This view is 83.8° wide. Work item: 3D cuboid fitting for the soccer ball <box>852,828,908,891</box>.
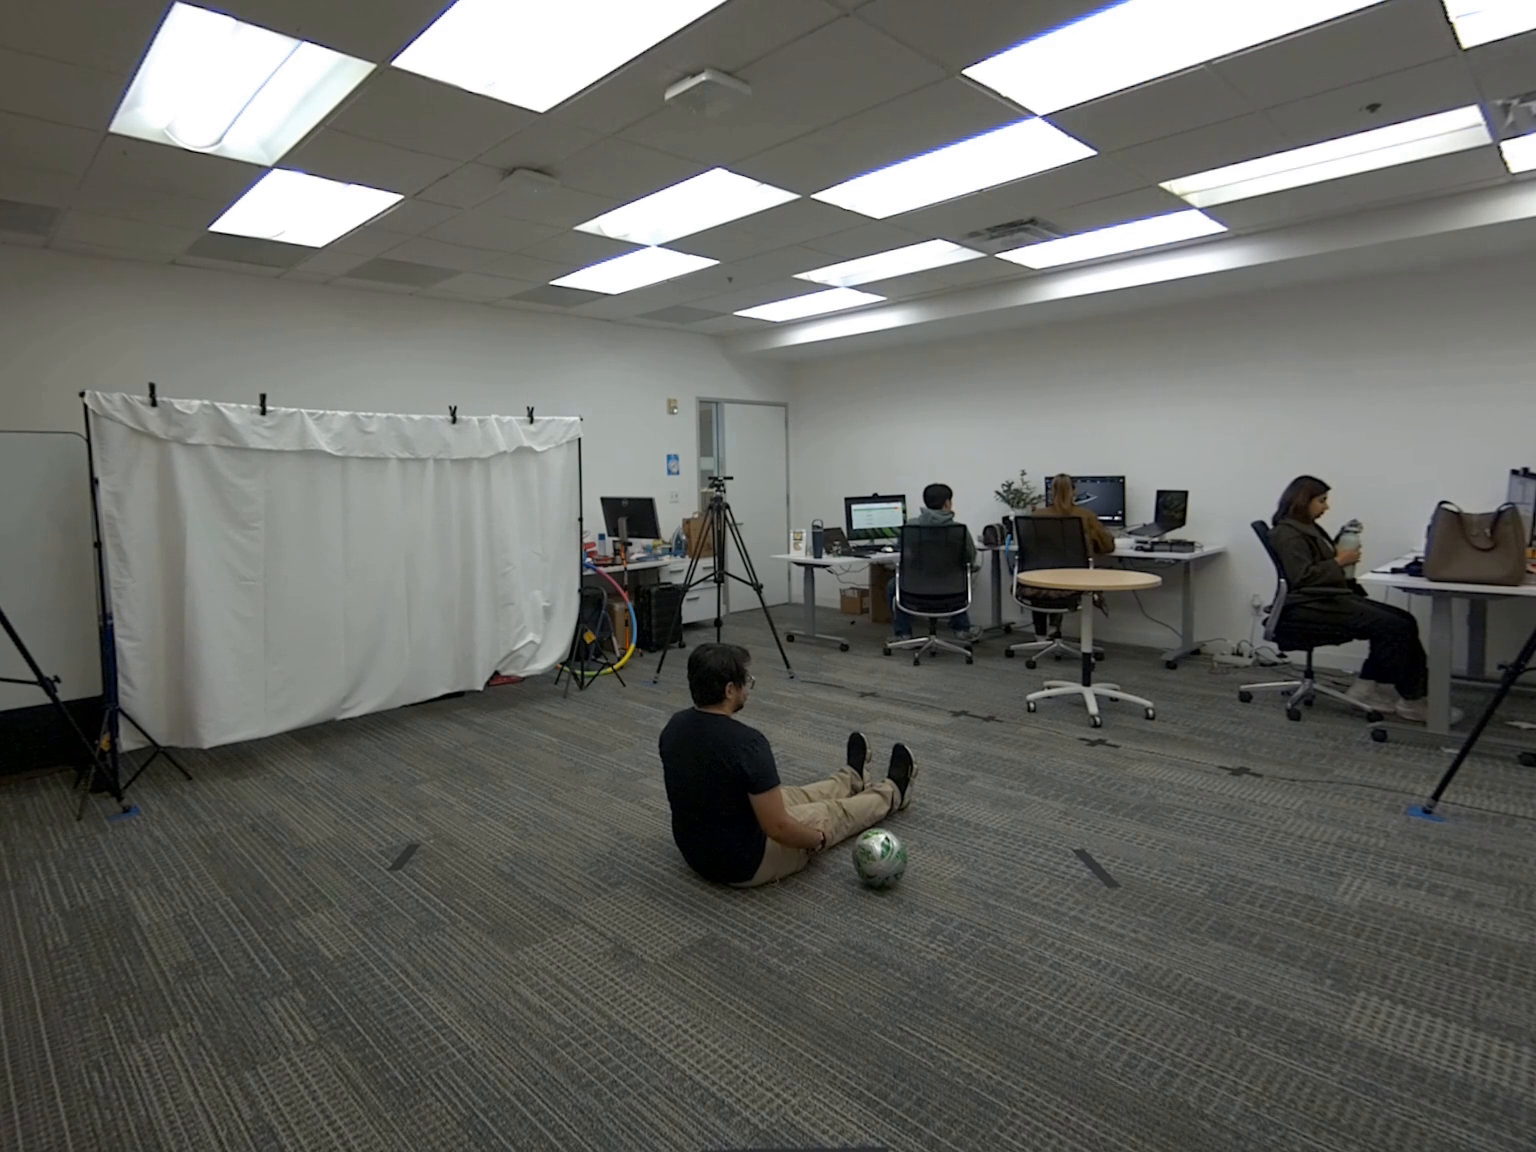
[{"bbox_3d":[0.376,0.950,2.910,0.187,0.187,0.188,-1,4,-2],"label":"soccer ball"}]
